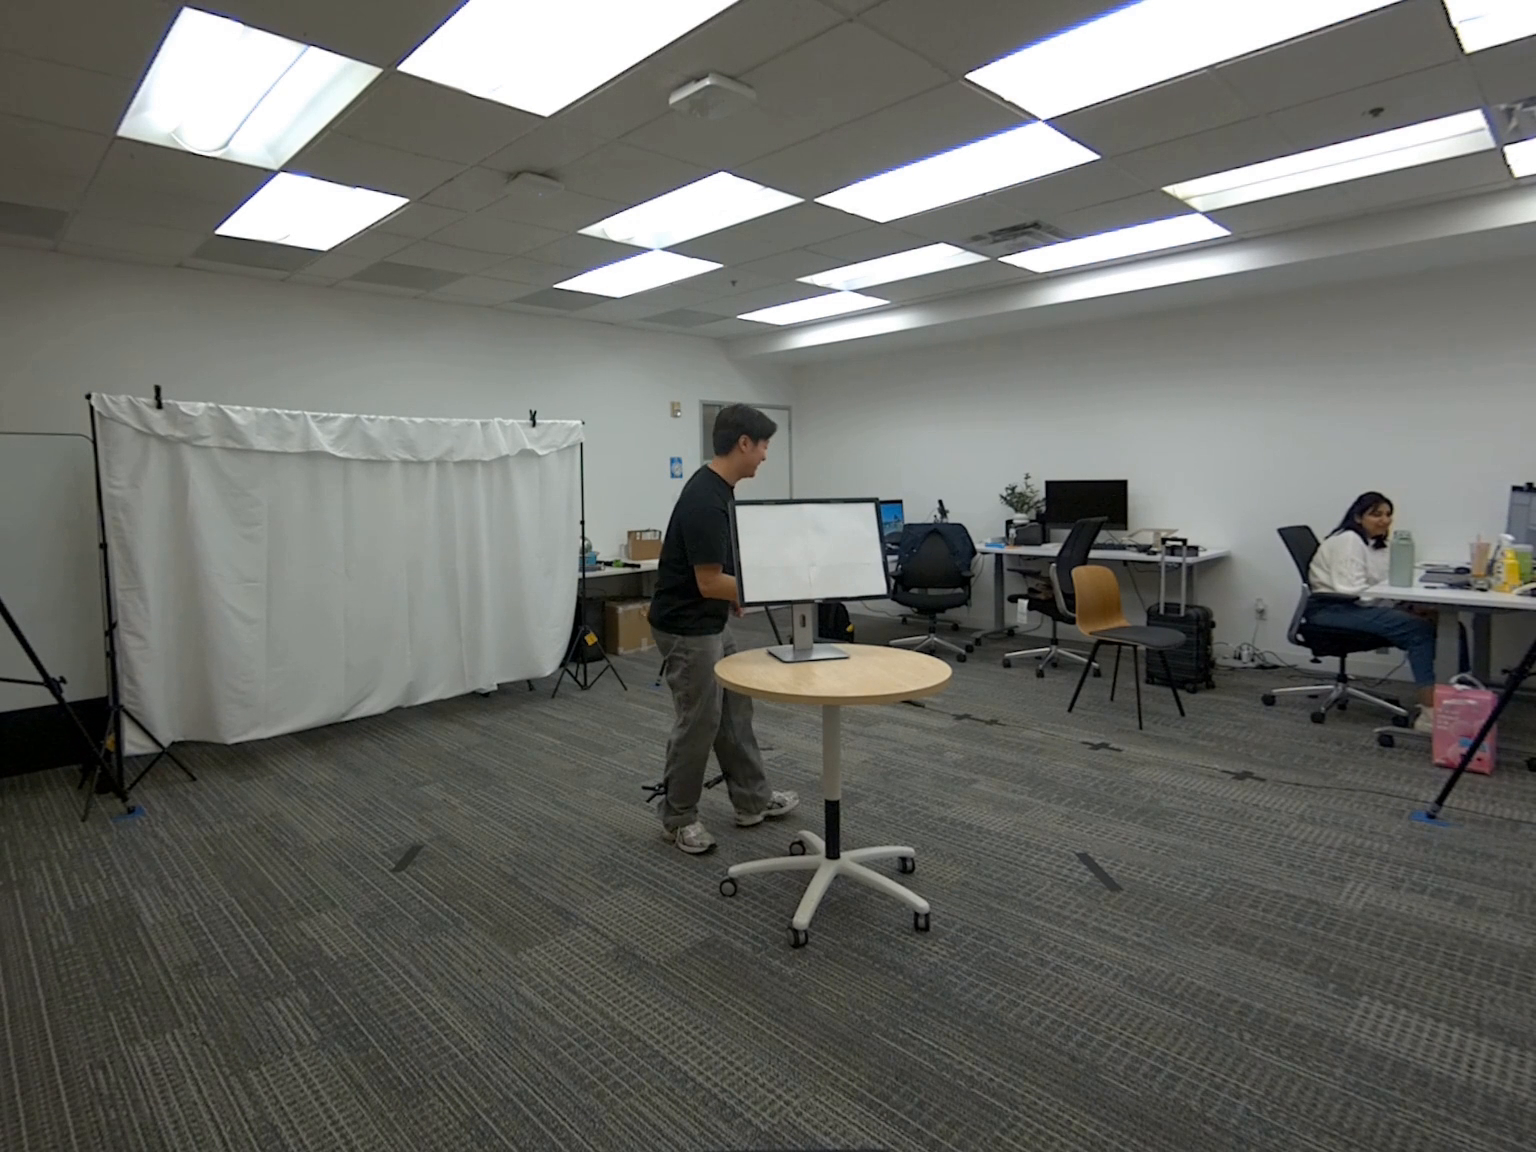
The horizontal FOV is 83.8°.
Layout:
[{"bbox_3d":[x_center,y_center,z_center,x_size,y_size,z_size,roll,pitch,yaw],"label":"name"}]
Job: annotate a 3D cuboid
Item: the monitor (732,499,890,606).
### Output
[{"bbox_3d":[0.134,0.015,2.958,0.554,0.564,0.226,-2,4,-15],"label":"monitor"}]
